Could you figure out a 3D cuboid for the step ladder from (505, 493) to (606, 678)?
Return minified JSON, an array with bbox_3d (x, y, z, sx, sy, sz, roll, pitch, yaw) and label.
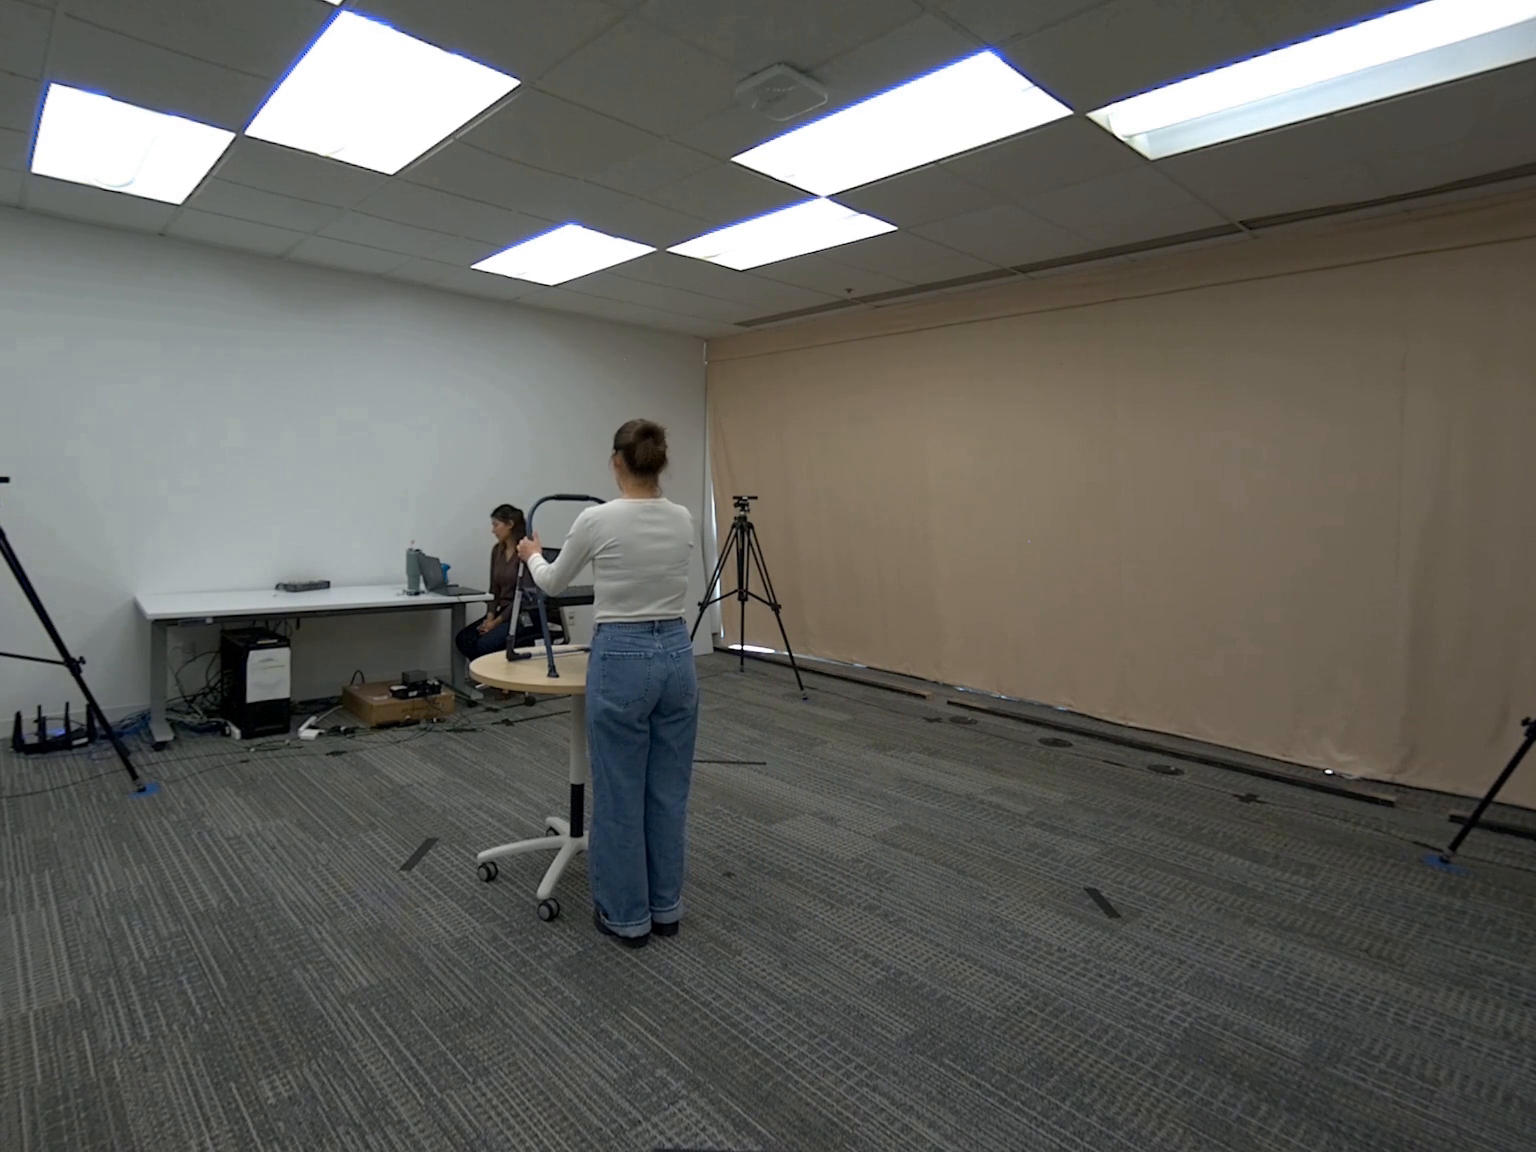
[{"bbox_3d":[-0.671,0.005,3.026,0.420,0.604,0.358,-1,6,-45],"label":"step ladder"}]
